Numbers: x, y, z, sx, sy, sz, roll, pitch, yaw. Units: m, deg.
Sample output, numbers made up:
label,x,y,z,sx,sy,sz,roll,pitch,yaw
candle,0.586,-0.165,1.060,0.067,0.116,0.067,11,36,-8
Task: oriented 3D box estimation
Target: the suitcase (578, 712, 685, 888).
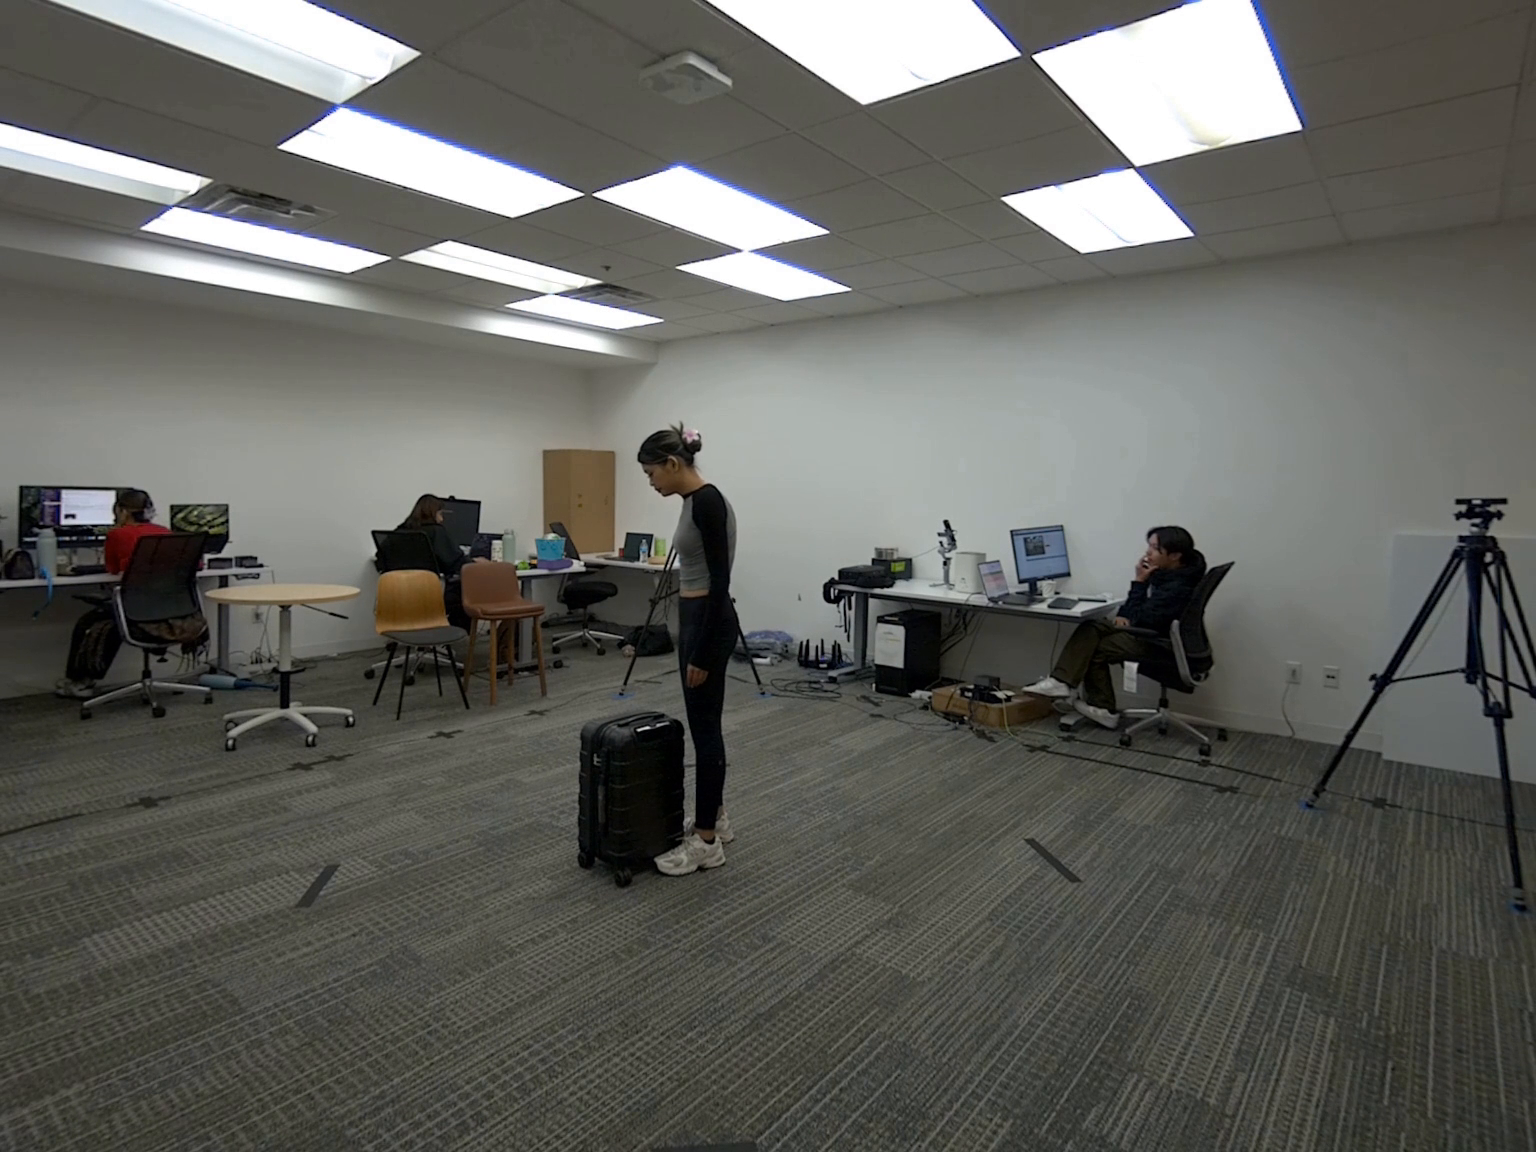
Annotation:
label,x,y,z,sx,sy,sz,roll,pitch,yaw
suitcase,-0.519,0.785,3.149,0.256,0.548,0.364,1,3,41
